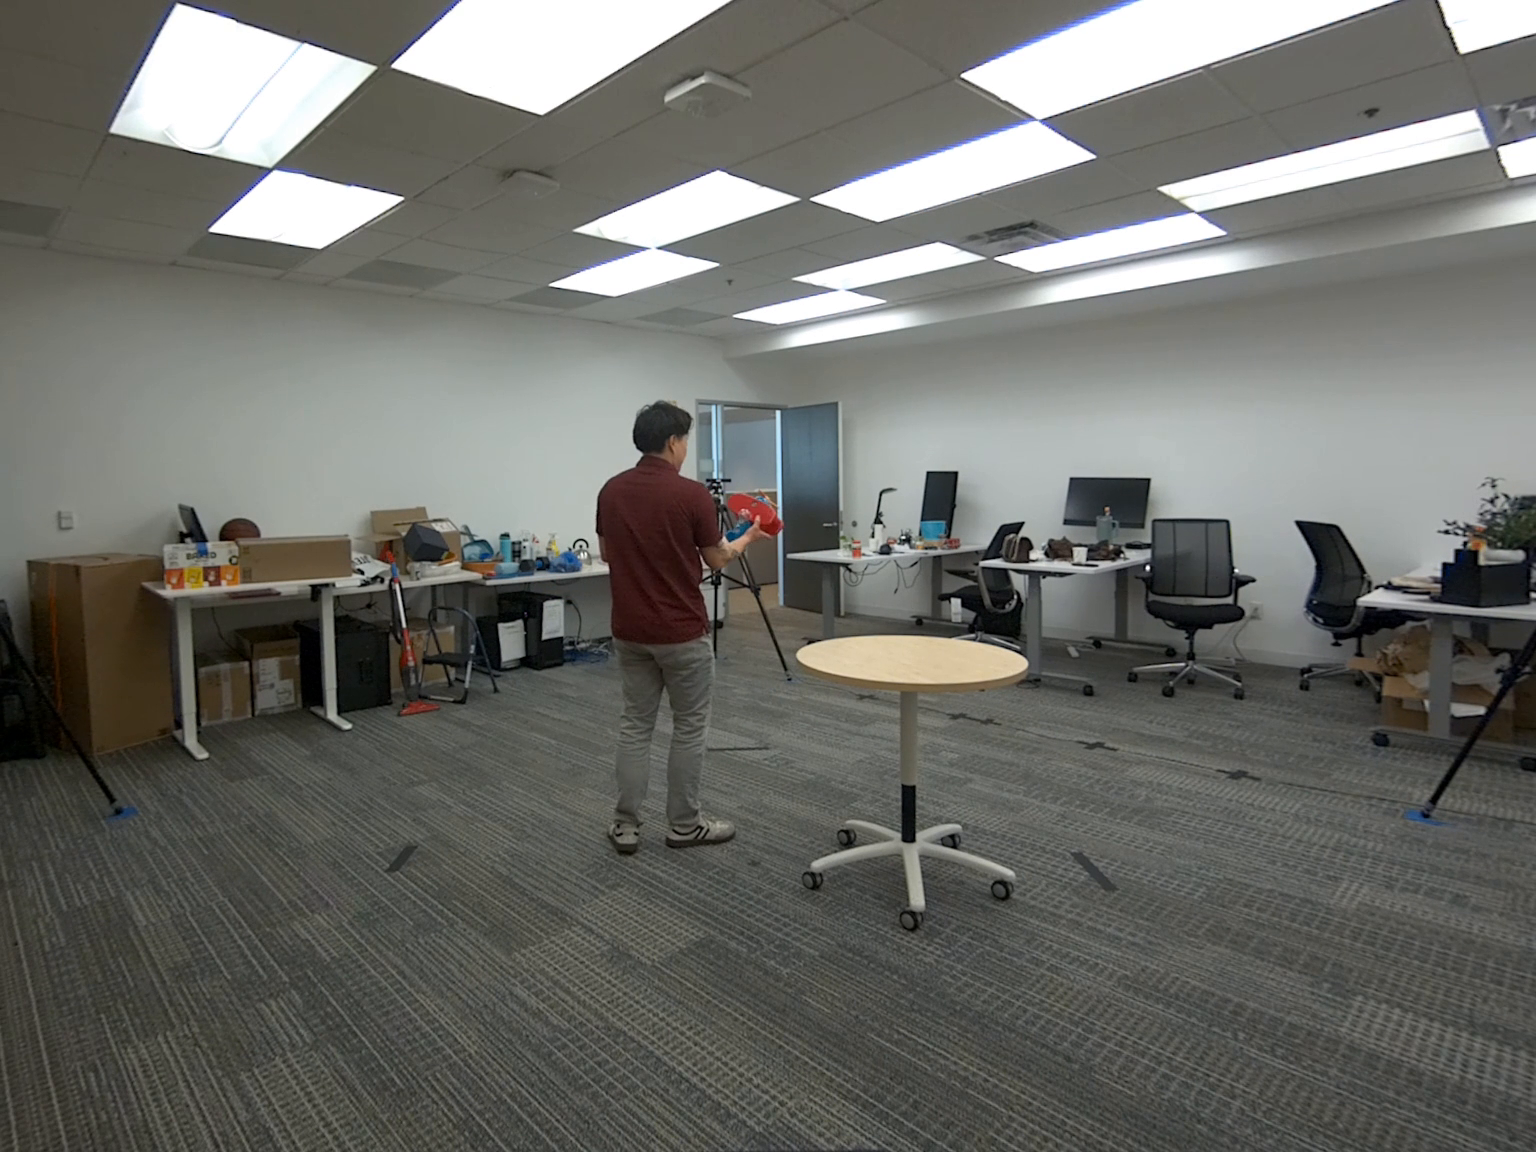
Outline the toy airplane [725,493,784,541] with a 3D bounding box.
[{"bbox_3d":[-0.070,-0.225,3.555,0.256,0.151,0.263,1,48,21],"label":"toy airplane"}]
